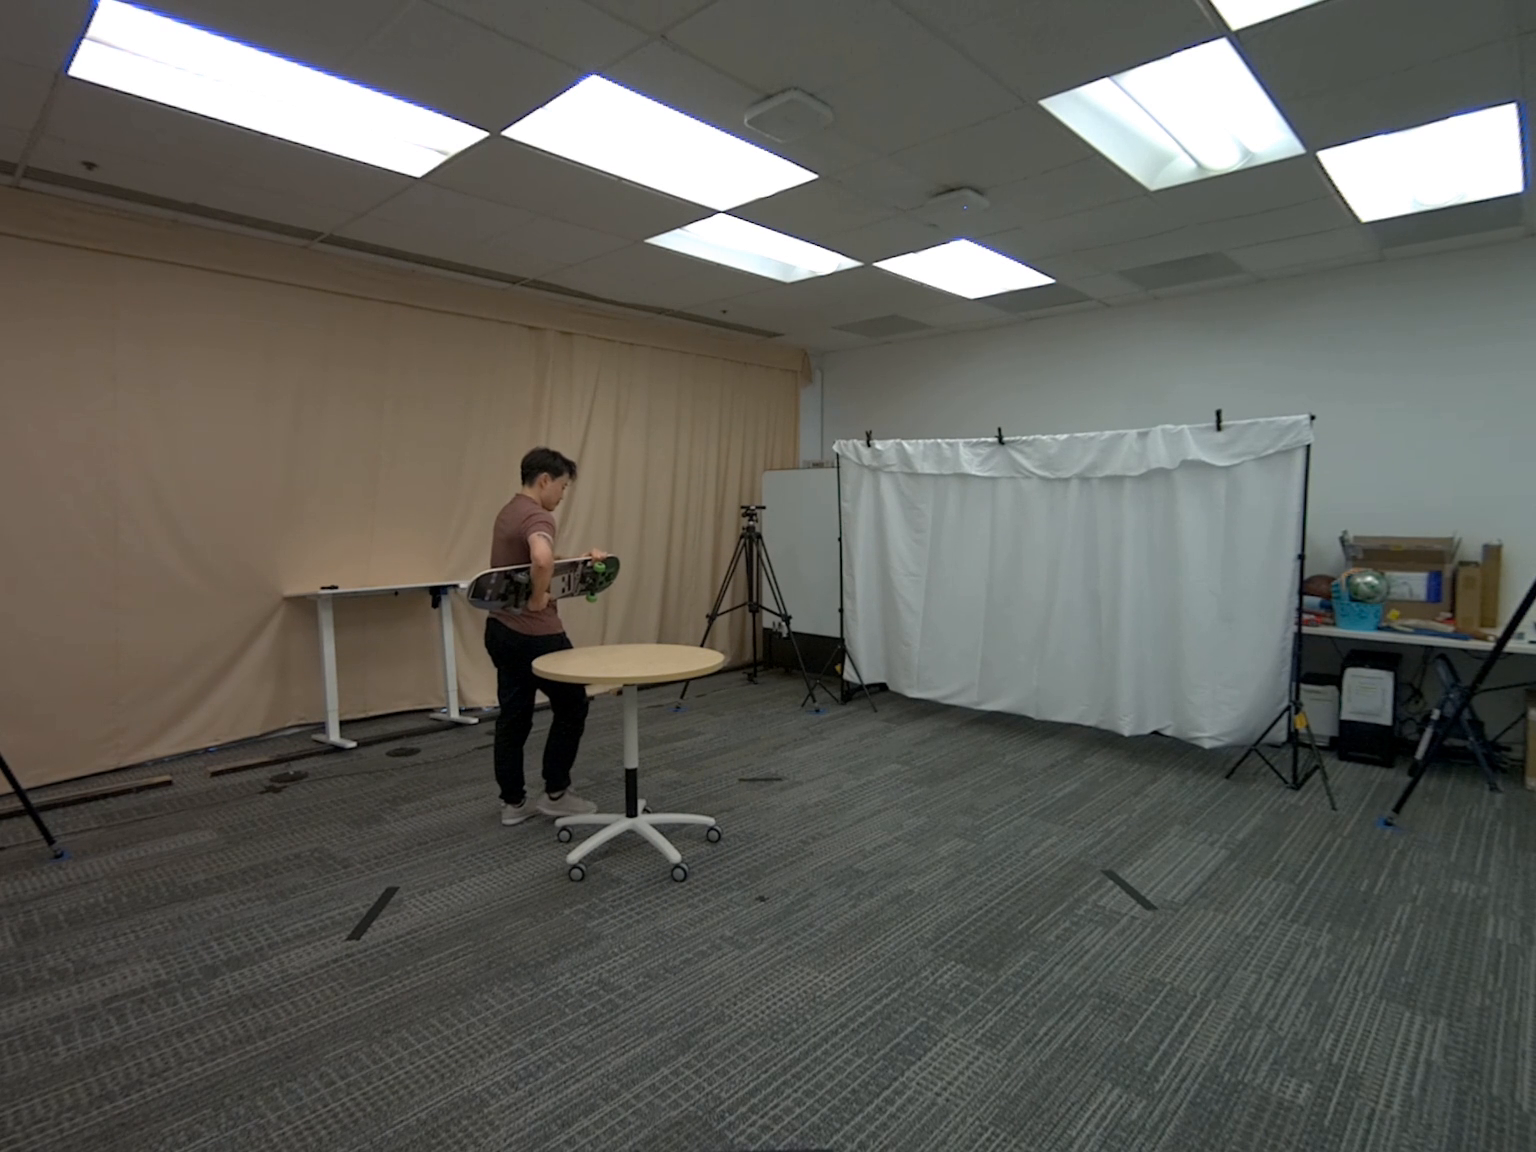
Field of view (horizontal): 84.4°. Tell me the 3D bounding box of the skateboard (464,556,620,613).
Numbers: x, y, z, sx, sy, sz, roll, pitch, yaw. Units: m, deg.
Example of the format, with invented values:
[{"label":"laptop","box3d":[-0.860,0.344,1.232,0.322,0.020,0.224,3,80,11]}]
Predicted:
[{"label":"skateboard","box3d":[-0.898,0.045,3.636,0.114,0.192,0.763,32,28,34]}]
